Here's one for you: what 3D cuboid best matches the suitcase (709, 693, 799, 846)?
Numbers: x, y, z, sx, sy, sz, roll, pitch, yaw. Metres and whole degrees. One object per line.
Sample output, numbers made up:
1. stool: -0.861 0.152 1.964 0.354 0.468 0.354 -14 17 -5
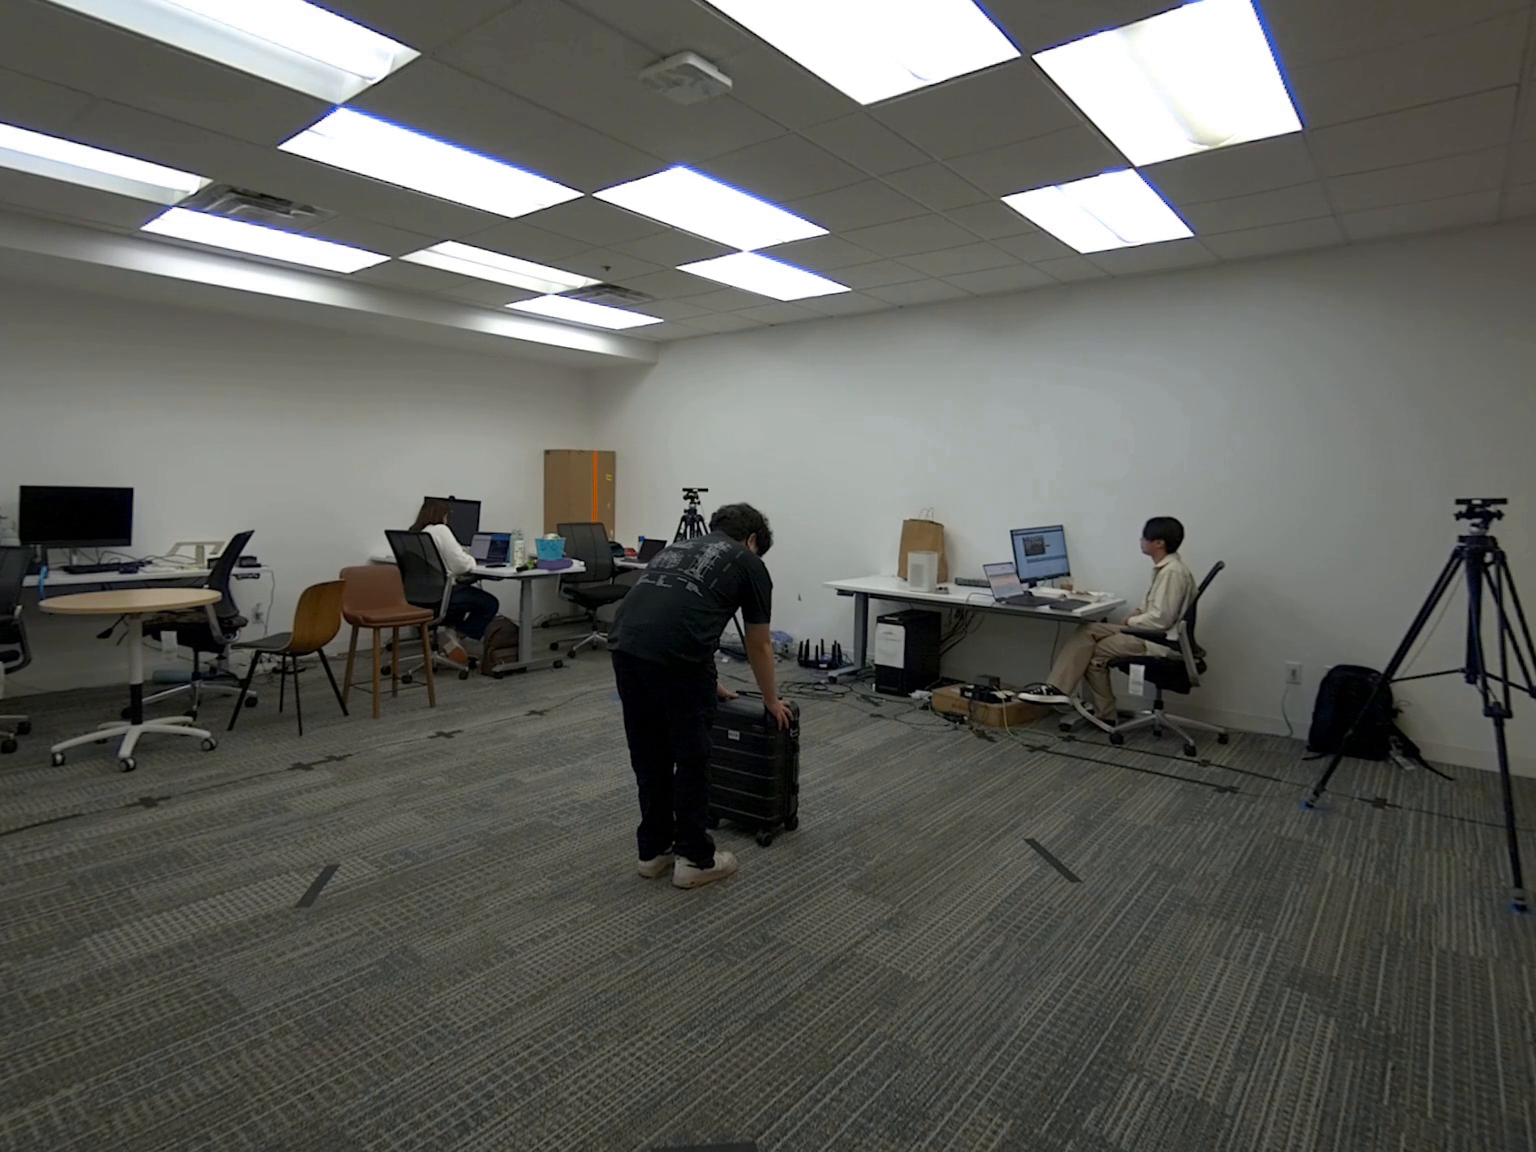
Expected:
1. suitcase: -0.070 0.762 3.506 0.387 0.548 0.241 3 3 31
